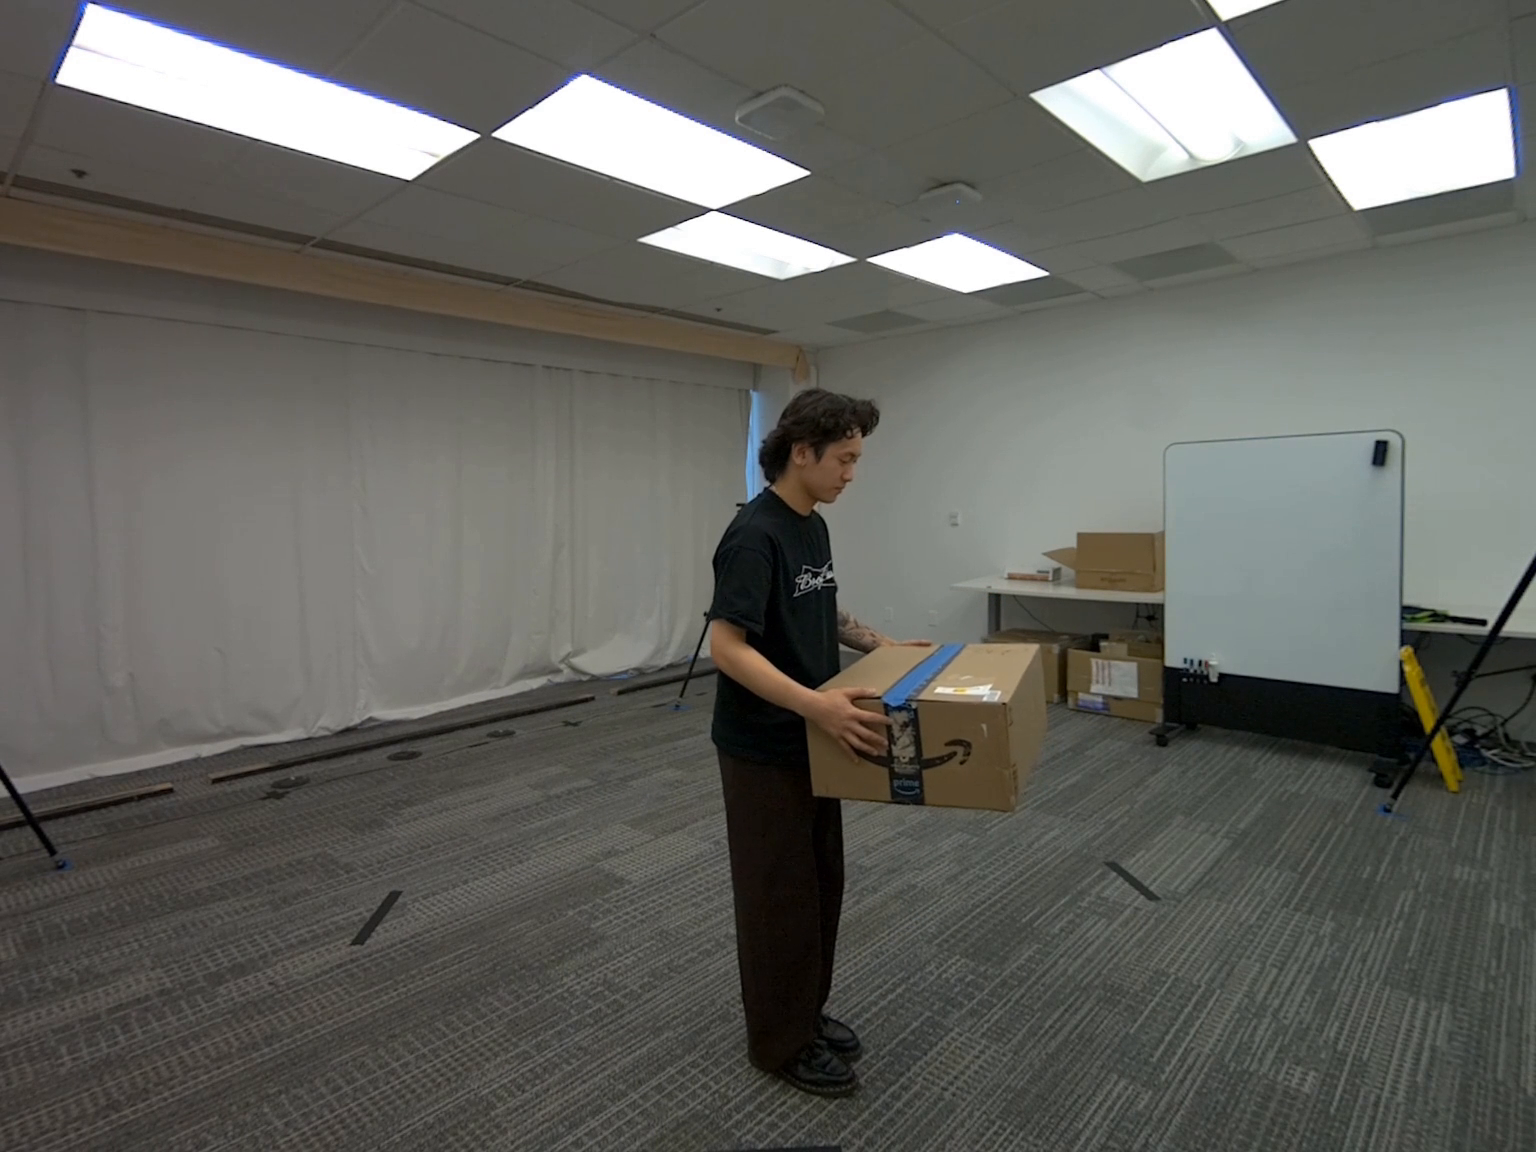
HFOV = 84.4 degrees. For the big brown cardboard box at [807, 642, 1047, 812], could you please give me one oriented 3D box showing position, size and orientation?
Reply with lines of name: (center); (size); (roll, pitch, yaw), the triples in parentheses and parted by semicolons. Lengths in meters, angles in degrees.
big brown cardboard box: (0.391, 0.321, 1.930); (0.428, 0.232, 0.576); (-4, 5, 26)
